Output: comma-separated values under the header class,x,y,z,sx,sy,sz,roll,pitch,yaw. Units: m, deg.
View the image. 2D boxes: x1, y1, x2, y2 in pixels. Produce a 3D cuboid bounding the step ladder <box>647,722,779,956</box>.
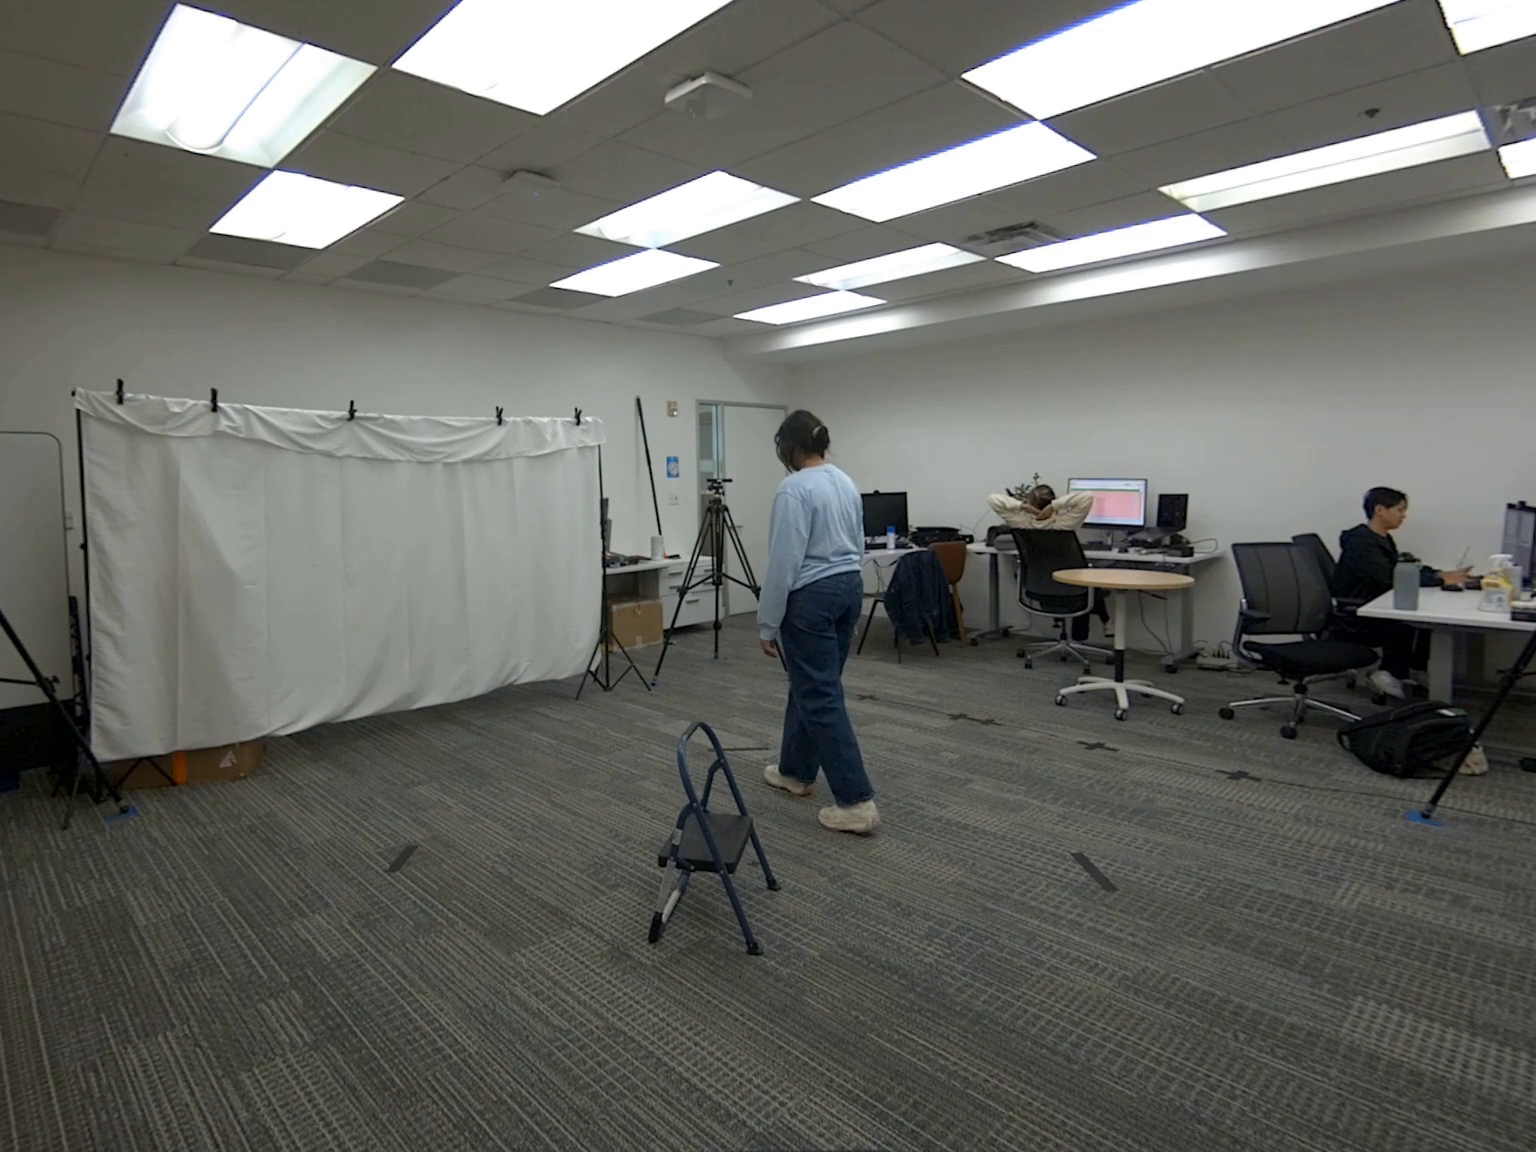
class,x,y,z,sx,sy,sz,roll,pitch,yaw
step ladder,-0.168,0.788,2.729,0.353,0.604,0.428,0,5,10
